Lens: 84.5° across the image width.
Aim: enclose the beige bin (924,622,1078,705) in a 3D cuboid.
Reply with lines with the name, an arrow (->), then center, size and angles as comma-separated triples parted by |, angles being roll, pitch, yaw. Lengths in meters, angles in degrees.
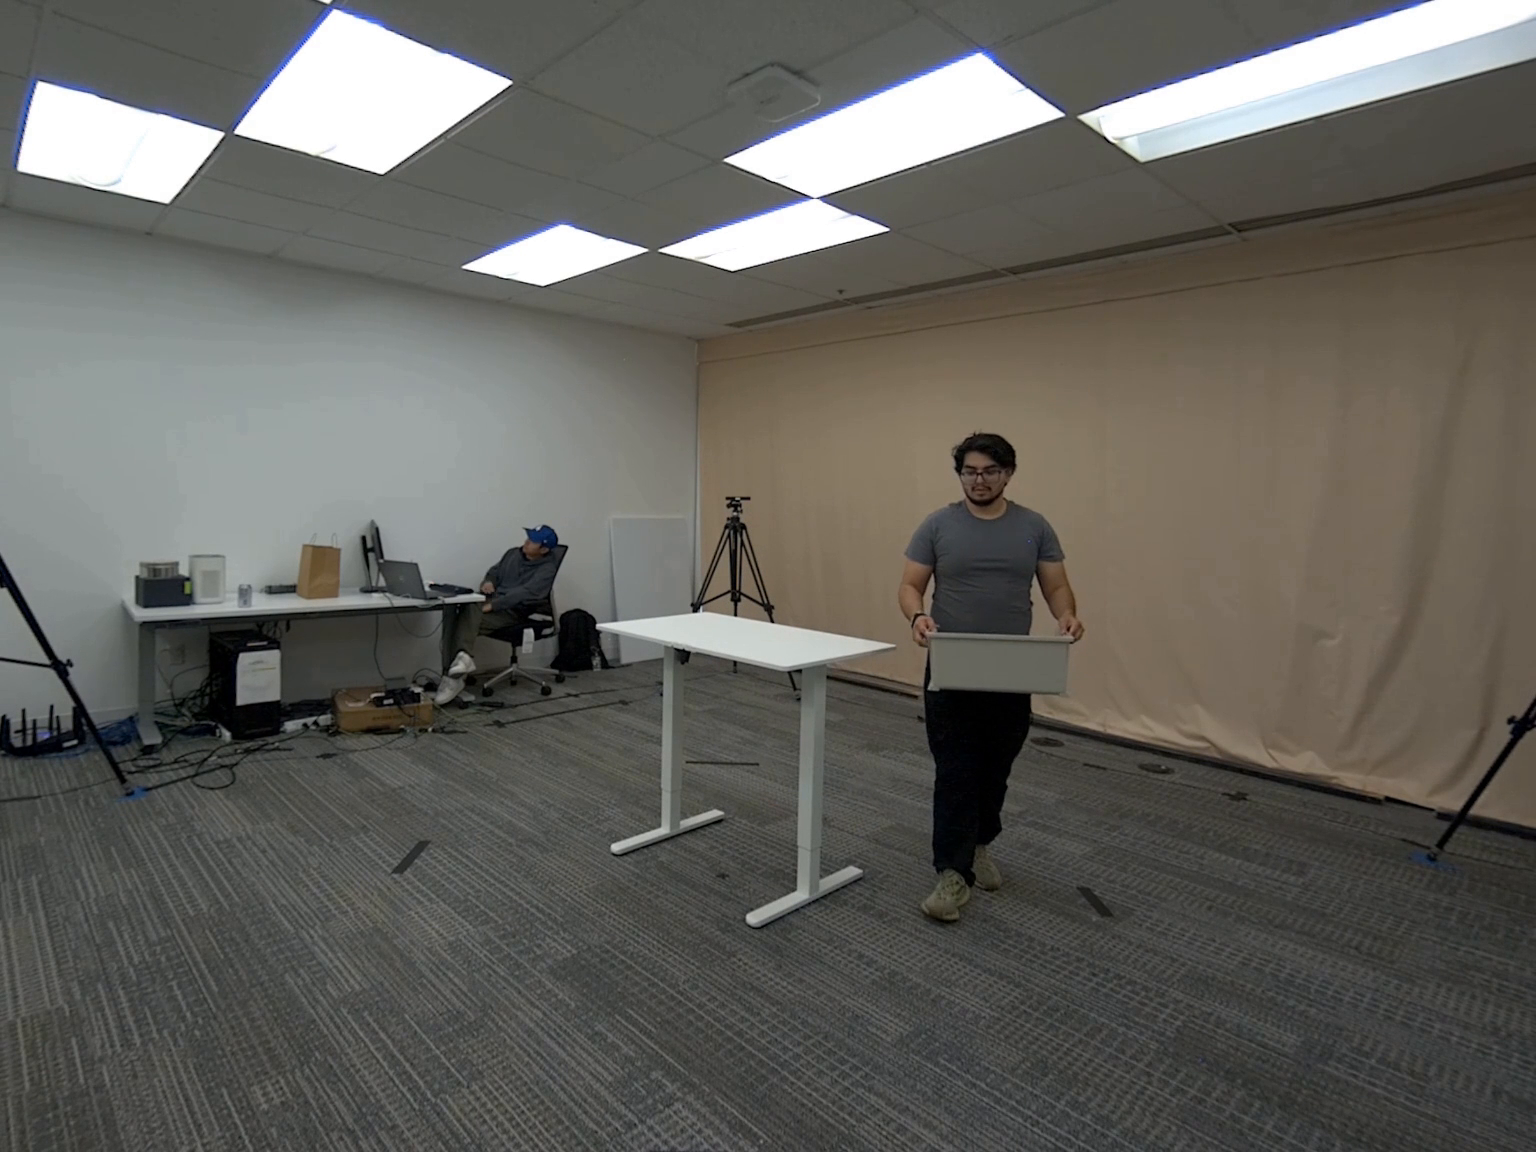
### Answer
beige bin -> 0.732, 0.251, 2.697 | 0.428, 0.188, 0.373 | 4, 4, 15
